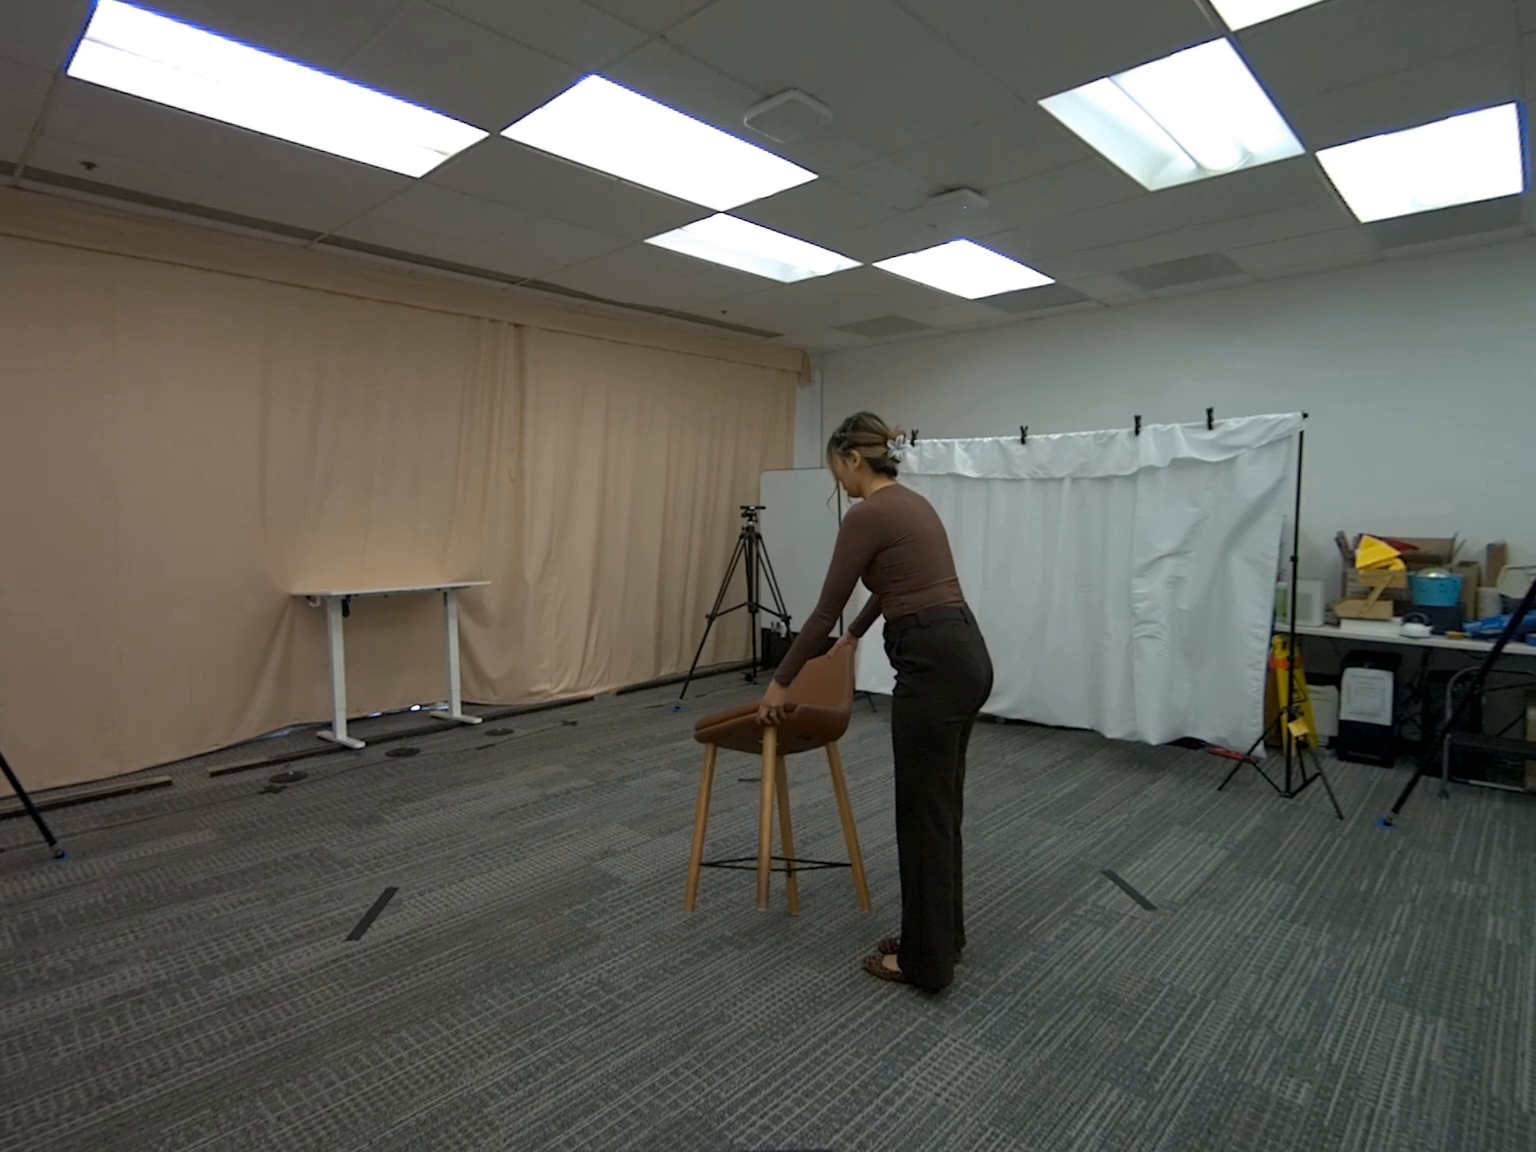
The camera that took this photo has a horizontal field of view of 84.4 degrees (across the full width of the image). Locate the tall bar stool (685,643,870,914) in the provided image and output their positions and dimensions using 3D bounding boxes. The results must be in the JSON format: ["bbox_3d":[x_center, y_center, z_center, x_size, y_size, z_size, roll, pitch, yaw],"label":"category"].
[{"bbox_3d":[0.034,0.646,2.813,0.453,0.901,0.465,18,-29,-32],"label":"tall bar stool"}]
